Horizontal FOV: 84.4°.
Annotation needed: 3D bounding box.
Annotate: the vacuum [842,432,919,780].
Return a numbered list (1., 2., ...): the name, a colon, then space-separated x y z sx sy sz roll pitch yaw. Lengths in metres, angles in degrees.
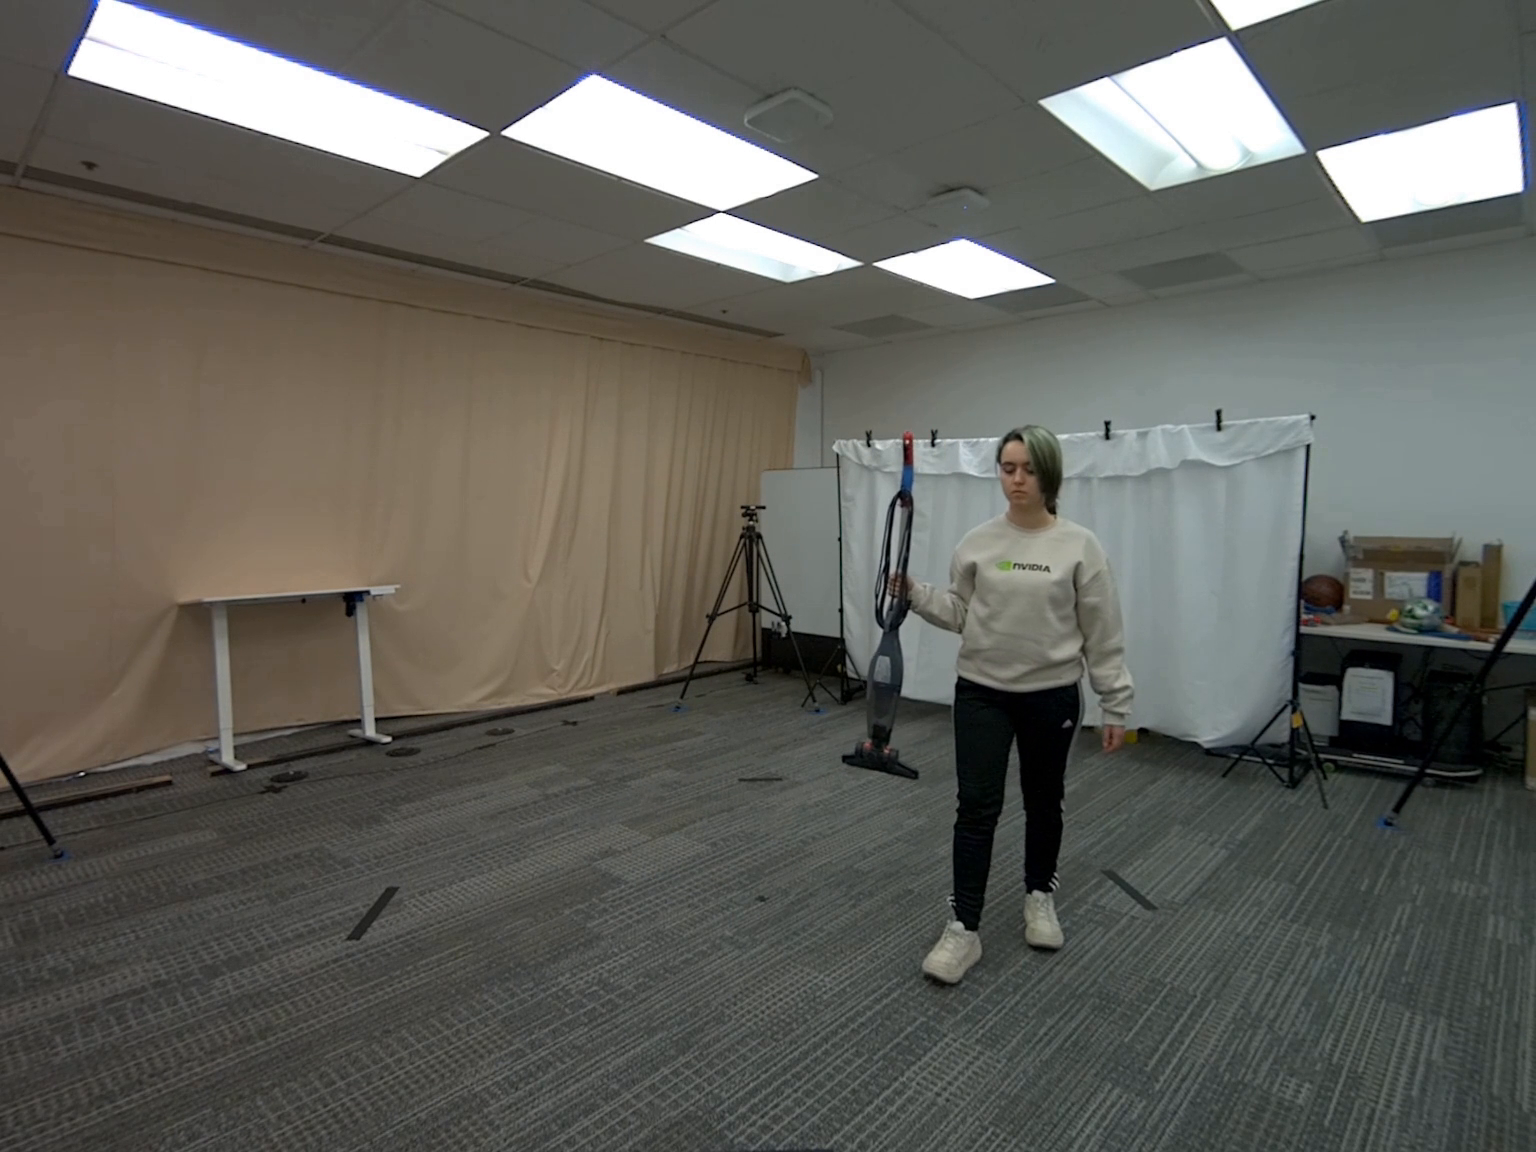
1. vacuum: 0.399 0.078 2.675 0.253 1.045 0.144 5 6 3
